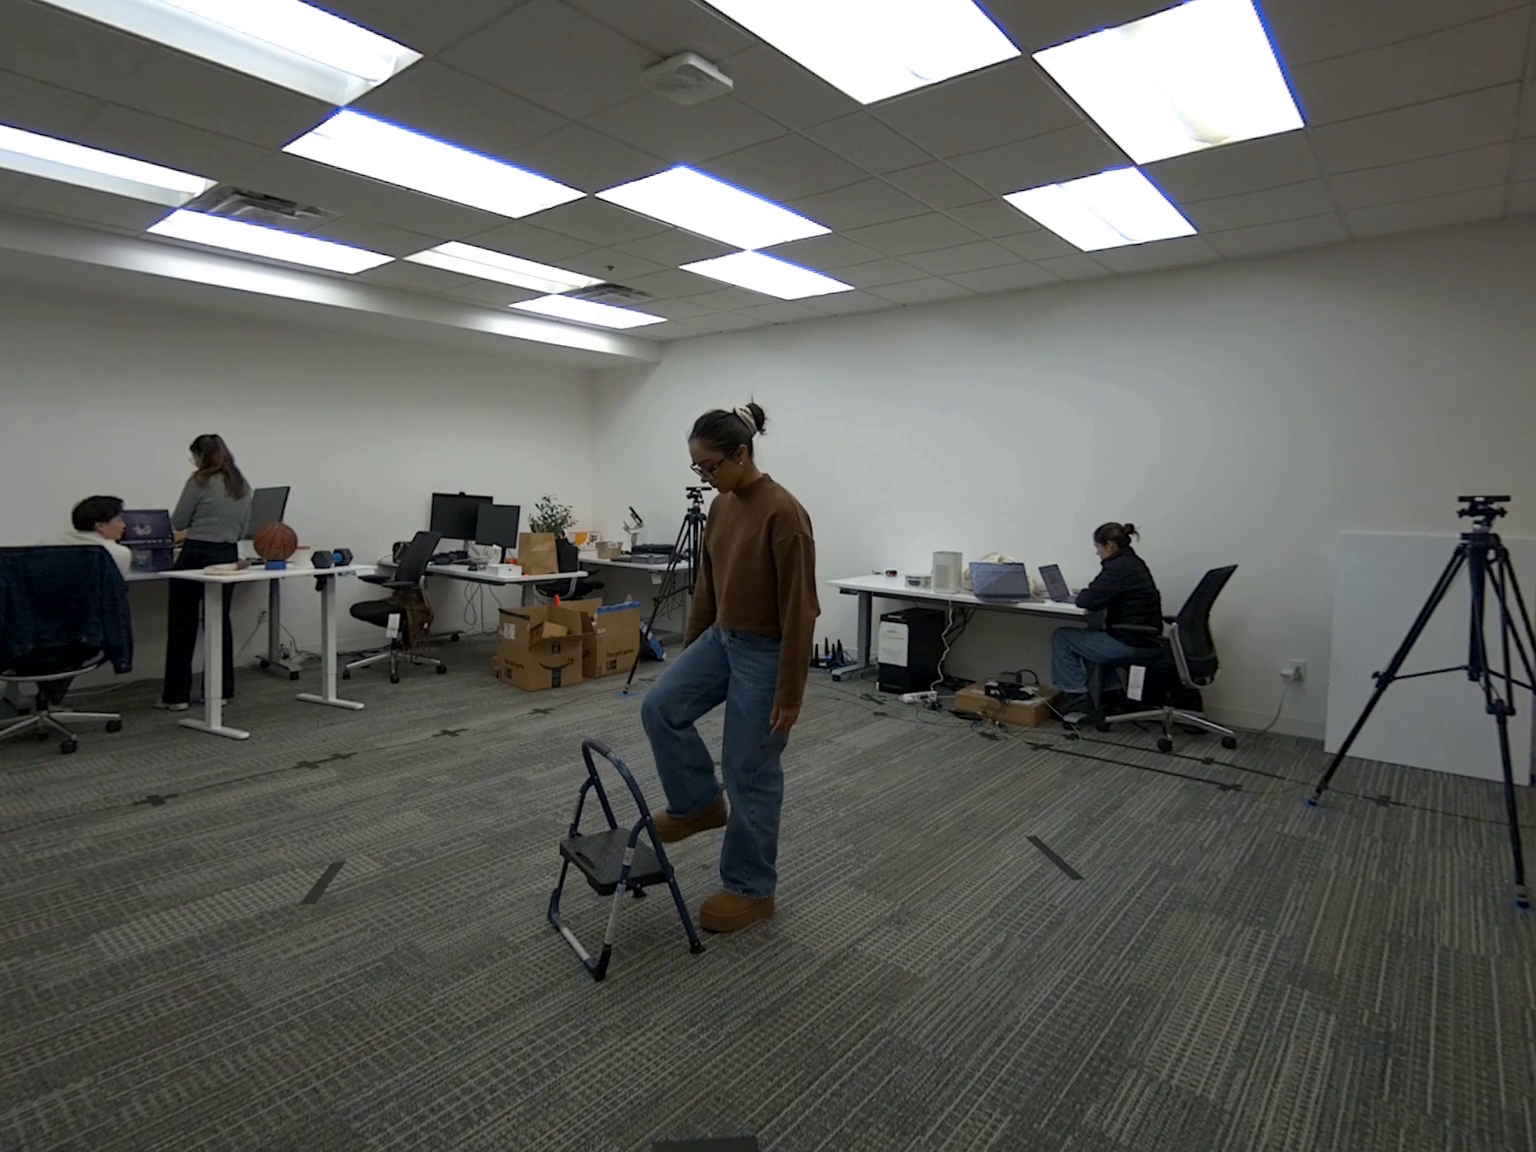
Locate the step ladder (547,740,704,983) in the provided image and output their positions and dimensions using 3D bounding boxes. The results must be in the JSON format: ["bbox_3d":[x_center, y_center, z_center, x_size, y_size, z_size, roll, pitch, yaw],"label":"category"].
[{"bbox_3d":[-0.455,0.806,2.624,0.339,0.604,0.444,-1,4,-34],"label":"step ladder"}]
